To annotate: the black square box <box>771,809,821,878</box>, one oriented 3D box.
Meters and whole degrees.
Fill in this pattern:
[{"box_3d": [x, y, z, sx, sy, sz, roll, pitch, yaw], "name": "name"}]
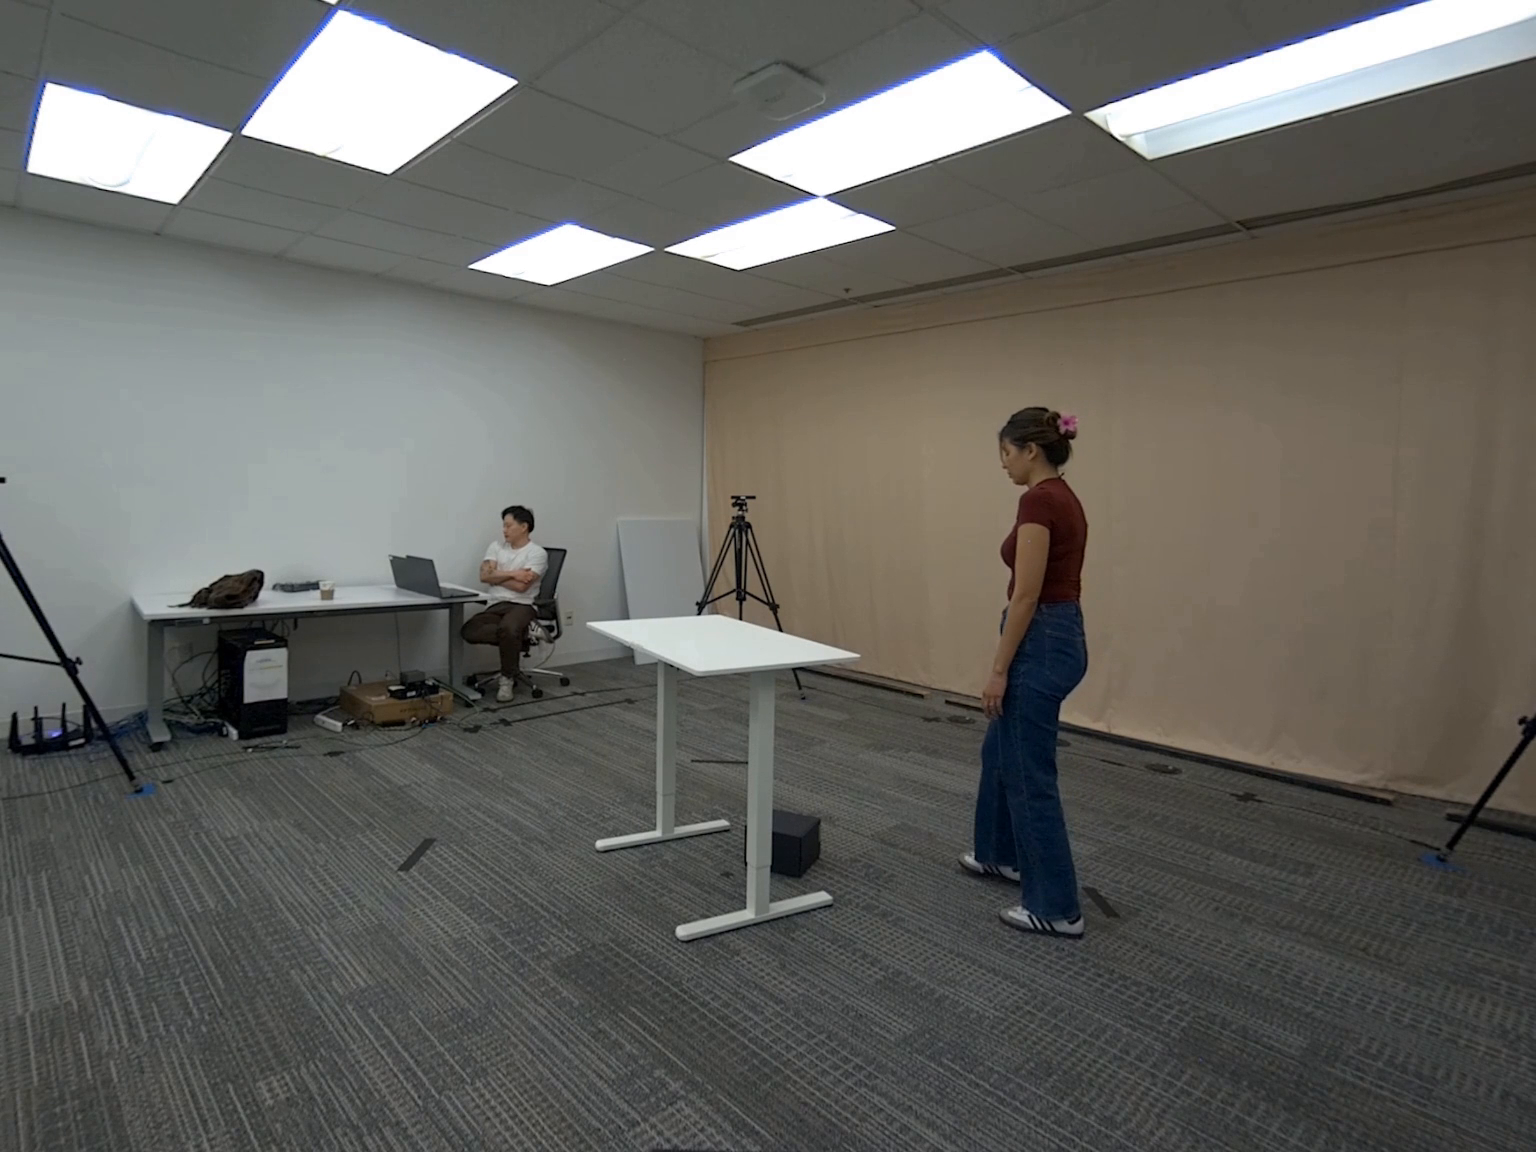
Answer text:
[{"box_3d": [0.052, 1.011, 3.214, 0.232, 0.155, 0.213, 3, 4, 25], "name": "black square box"}]
